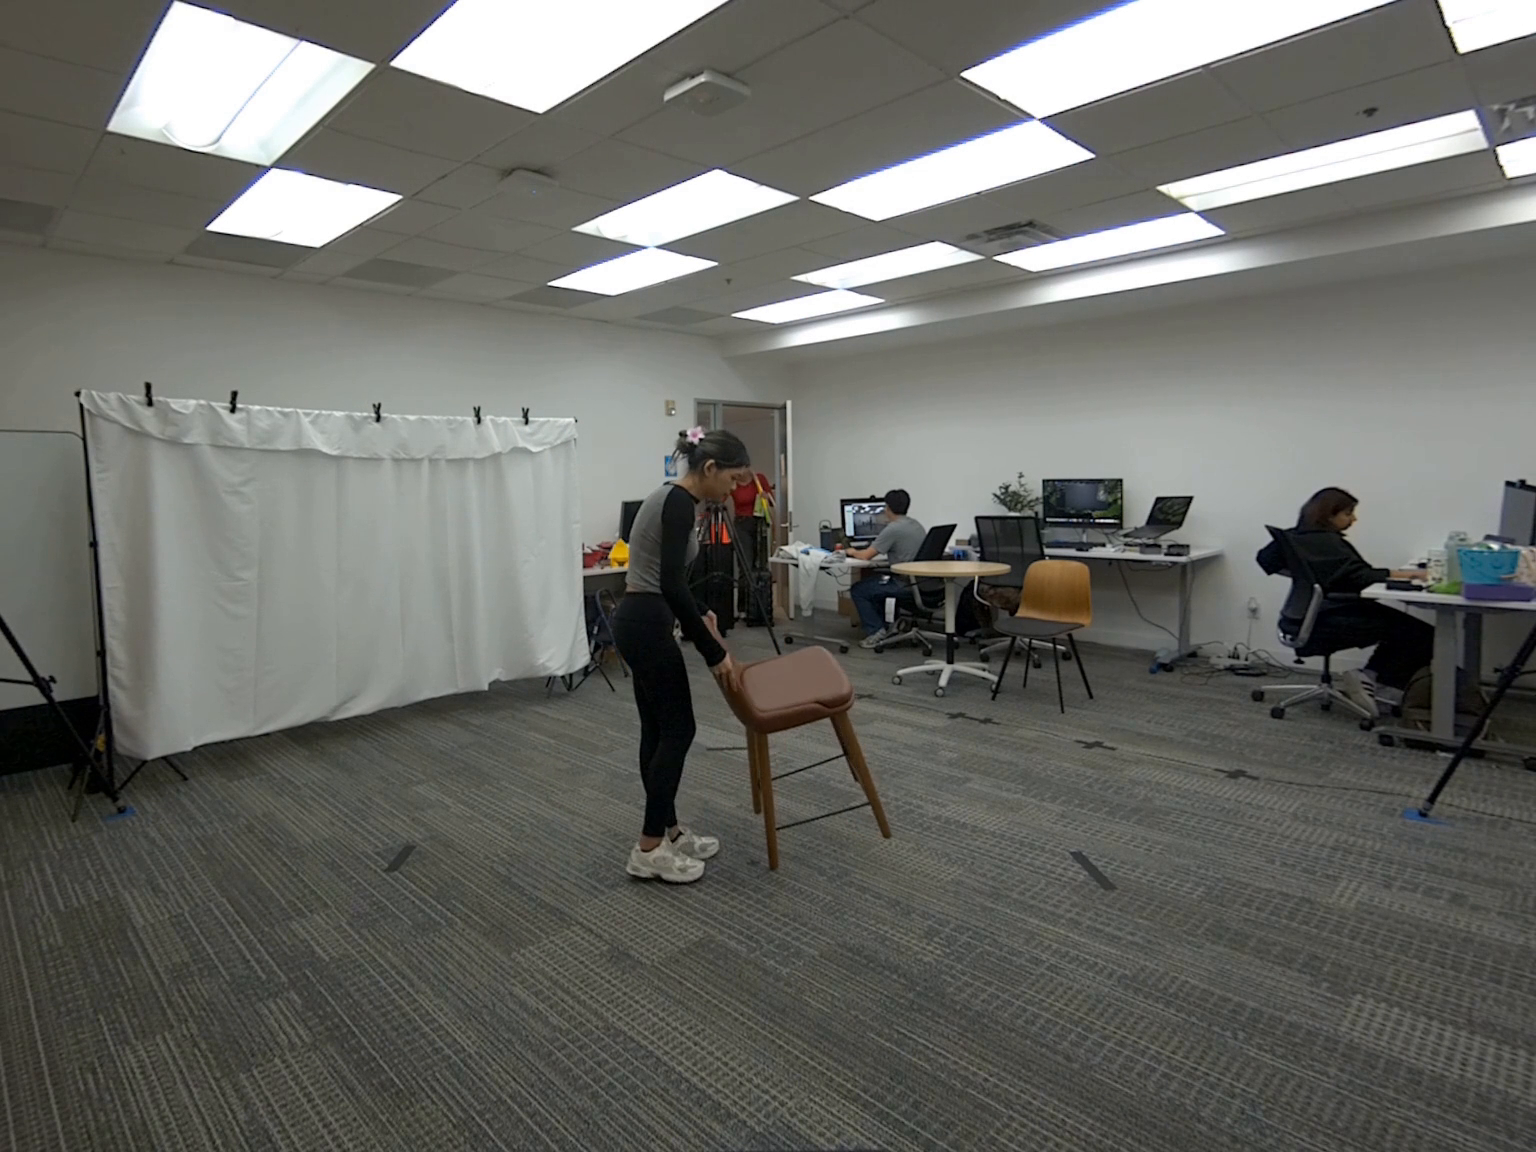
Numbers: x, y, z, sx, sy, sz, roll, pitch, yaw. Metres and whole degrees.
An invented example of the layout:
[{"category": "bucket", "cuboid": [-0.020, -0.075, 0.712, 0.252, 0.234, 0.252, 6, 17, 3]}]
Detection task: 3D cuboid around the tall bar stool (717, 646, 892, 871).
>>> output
[{"category": "tall bar stool", "cuboid": [0.088, 0.544, 3.114, 0.467, 0.873, 0.466, -17, 18, -3]}]
